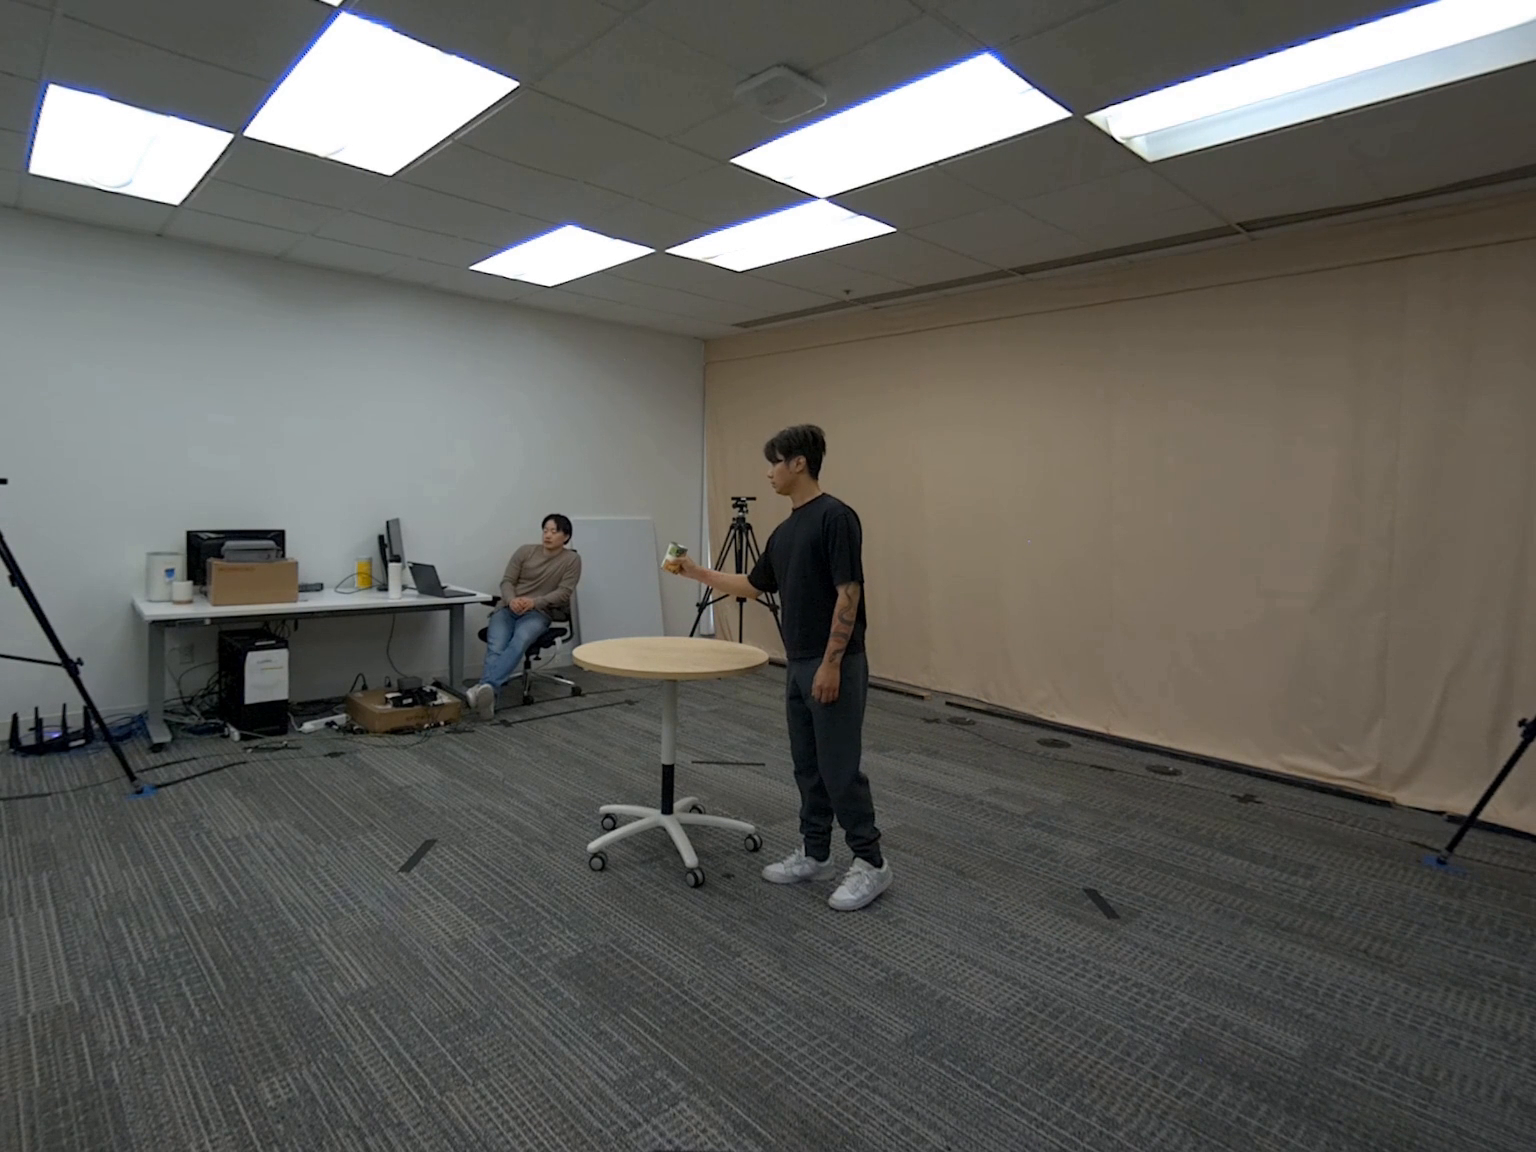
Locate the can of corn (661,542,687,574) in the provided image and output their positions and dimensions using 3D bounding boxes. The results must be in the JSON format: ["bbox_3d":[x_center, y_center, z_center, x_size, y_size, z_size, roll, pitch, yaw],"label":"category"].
[{"bbox_3d":[-0.384,-0.069,3.356,0.074,0.111,0.074,18,3,-3],"label":"can of corn"}]
